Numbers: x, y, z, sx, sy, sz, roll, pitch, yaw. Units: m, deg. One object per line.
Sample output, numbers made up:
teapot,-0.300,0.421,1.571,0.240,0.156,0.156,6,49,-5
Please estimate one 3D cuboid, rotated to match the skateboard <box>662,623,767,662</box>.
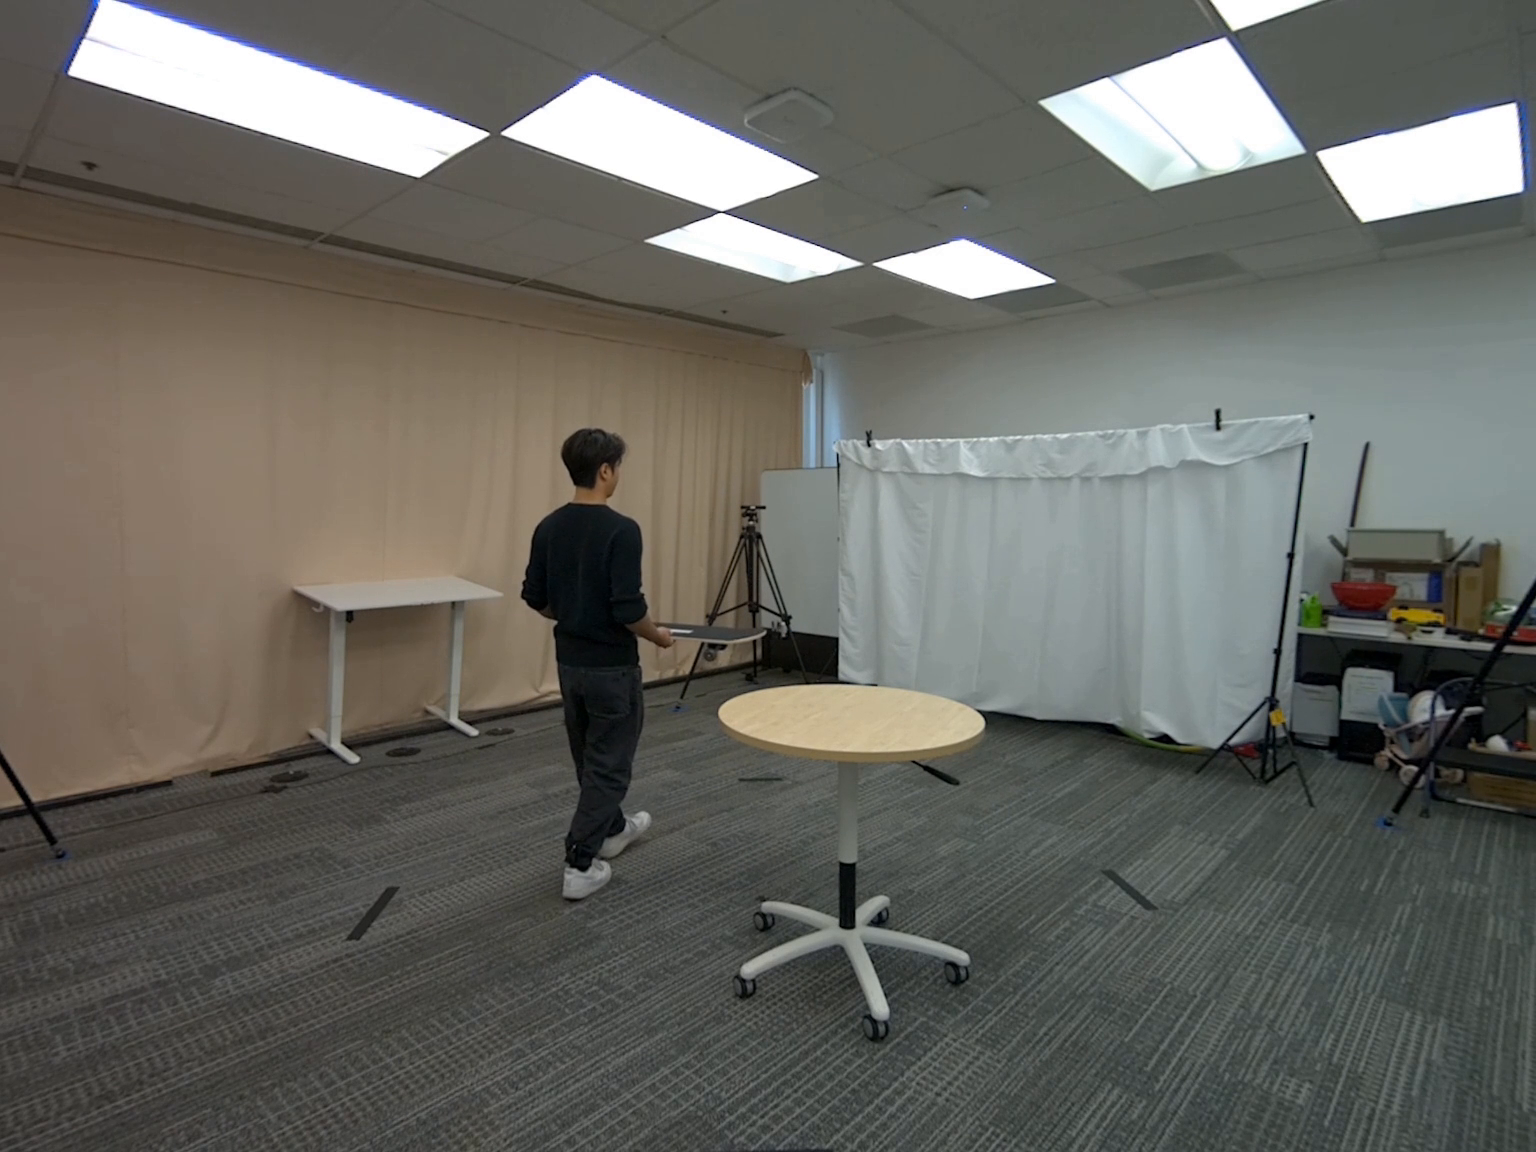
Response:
skateboard,-0.393,0.247,3.325,0.799,0.109,0.191,3,12,16
